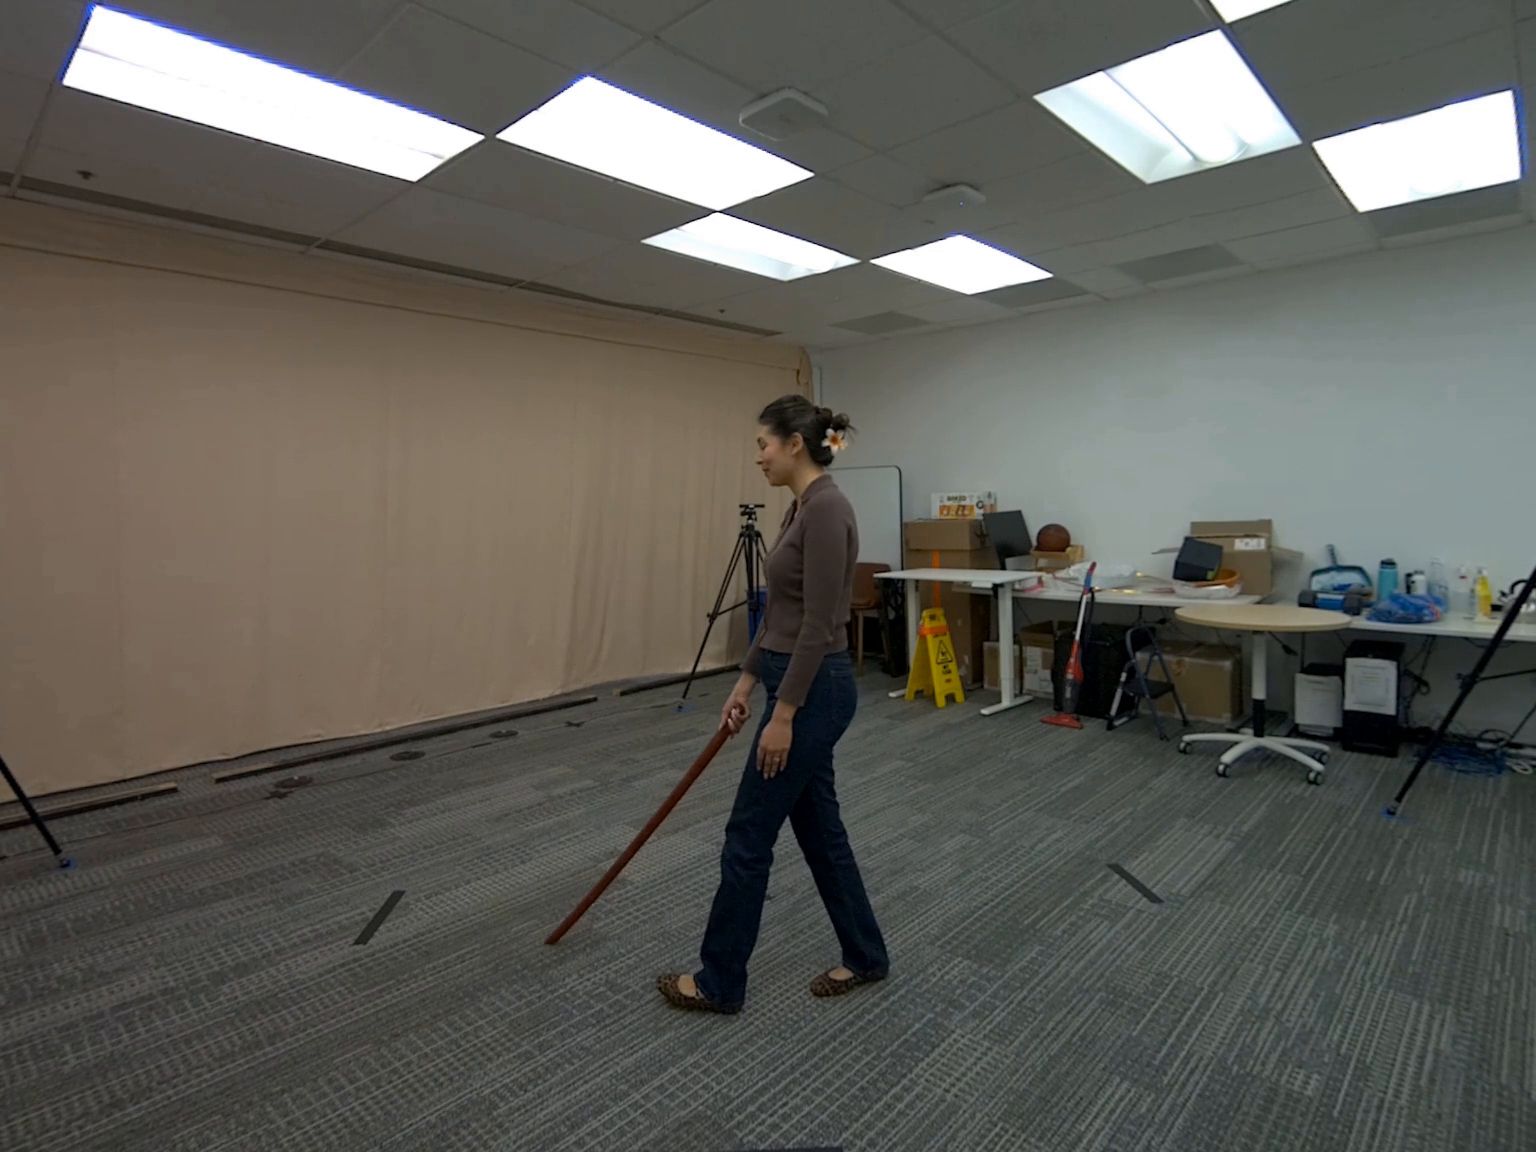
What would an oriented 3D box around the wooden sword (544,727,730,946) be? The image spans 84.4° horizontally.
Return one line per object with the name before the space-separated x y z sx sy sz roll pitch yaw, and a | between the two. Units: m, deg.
wooden sword | -0.385 0.785 2.593 0.024 1.026 0.050 41 10 16
